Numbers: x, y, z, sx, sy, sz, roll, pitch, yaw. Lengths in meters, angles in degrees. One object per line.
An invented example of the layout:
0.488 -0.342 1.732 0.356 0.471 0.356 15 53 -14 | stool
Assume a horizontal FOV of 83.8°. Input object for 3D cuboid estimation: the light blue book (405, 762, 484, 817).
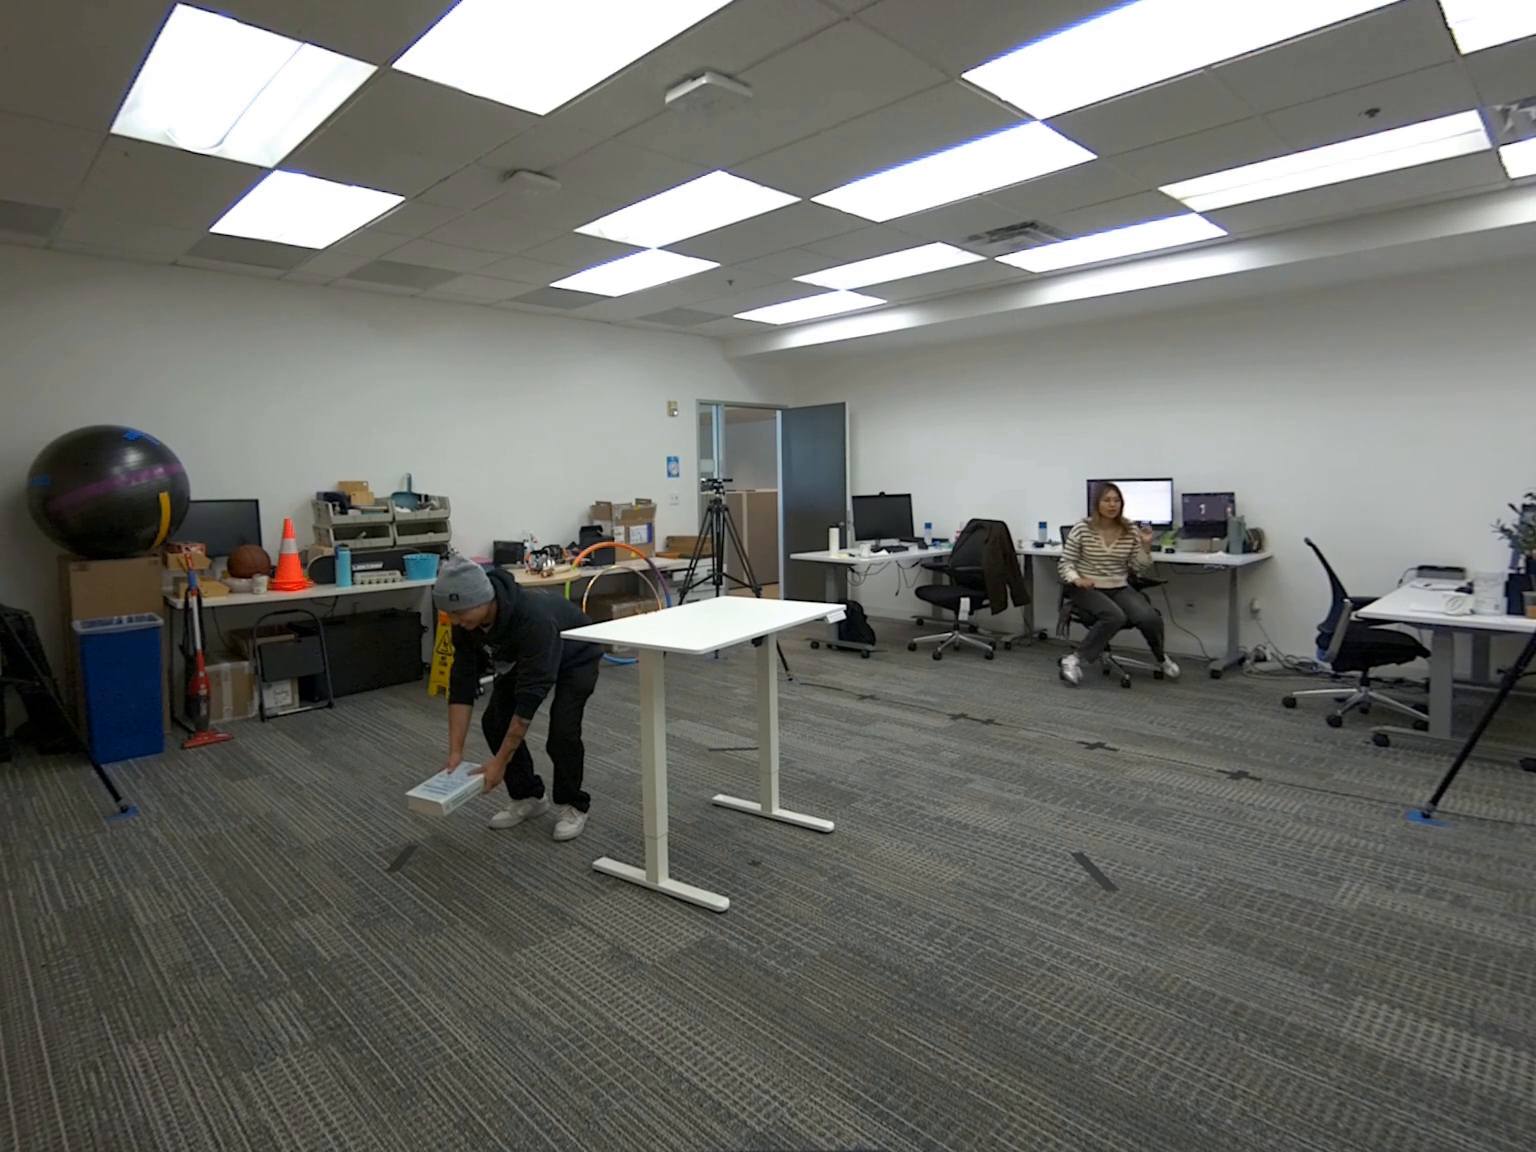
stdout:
-1.150 0.771 3.098 0.196 0.058 0.258 2 16 28 | light blue book
